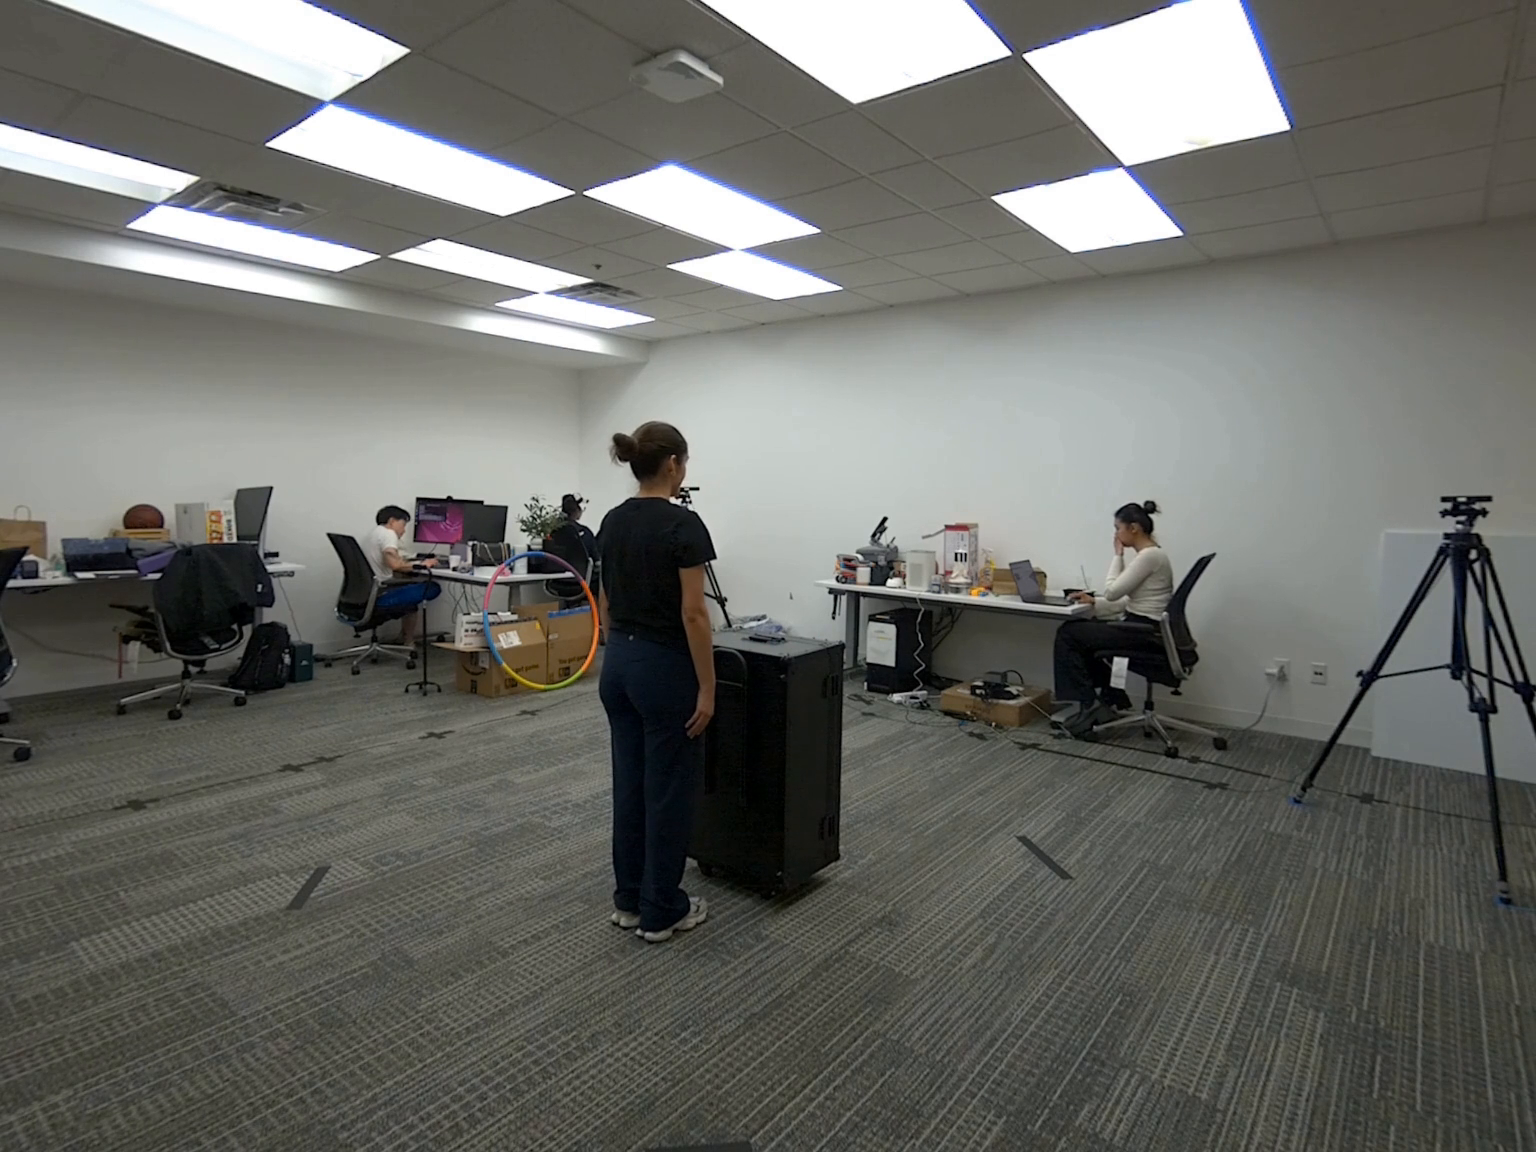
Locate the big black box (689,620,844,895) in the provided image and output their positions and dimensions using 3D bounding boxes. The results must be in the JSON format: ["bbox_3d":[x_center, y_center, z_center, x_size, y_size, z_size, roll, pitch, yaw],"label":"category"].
[{"bbox_3d":[-0.021,0.650,3.040,0.538,0.858,0.385,4,5,38],"label":"big black box"}]
